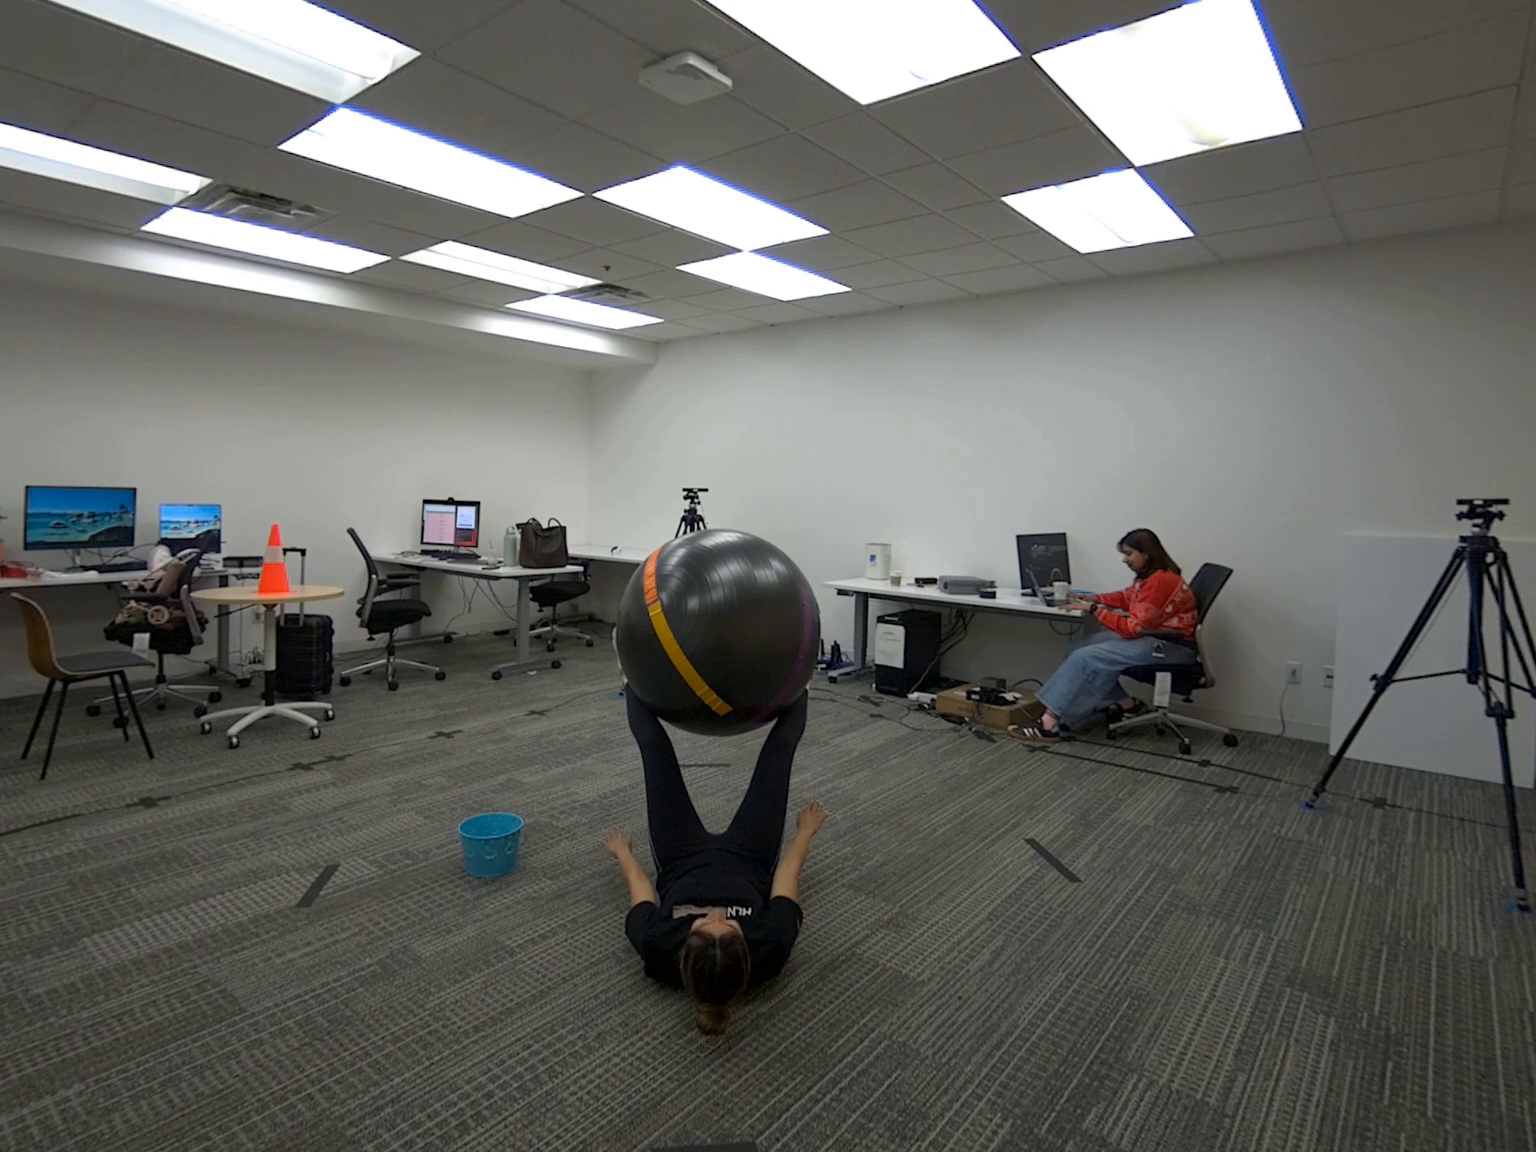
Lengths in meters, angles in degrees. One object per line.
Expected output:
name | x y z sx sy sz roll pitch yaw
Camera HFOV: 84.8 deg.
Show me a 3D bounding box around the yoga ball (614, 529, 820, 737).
yoga ball | -0.186 0.208 3.135 0.757 0.756 0.762 1 4 -2
